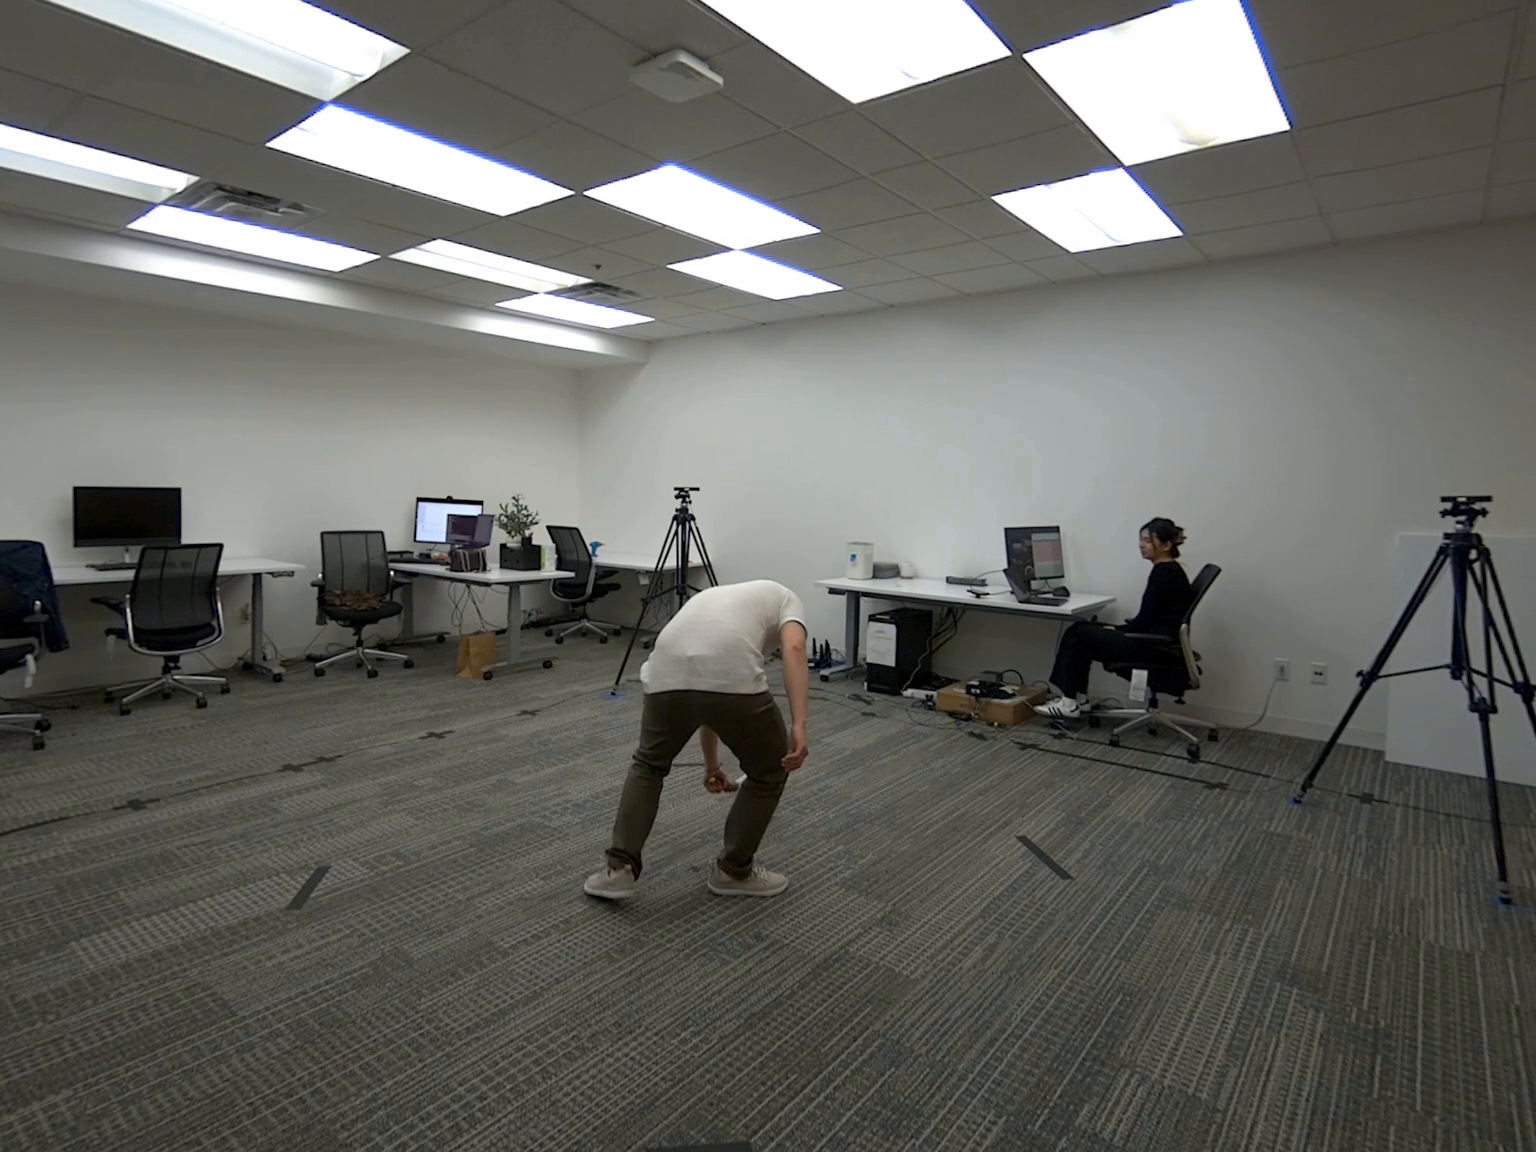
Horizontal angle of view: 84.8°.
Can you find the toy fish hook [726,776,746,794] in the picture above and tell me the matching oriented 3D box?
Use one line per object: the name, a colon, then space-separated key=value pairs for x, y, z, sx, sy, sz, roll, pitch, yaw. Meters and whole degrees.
toy fish hook: x=-0.116 y=0.888 z=3.409 sx=0.049 sy=0.229 sz=0.488 roll=-14 pitch=-20 yaw=25
